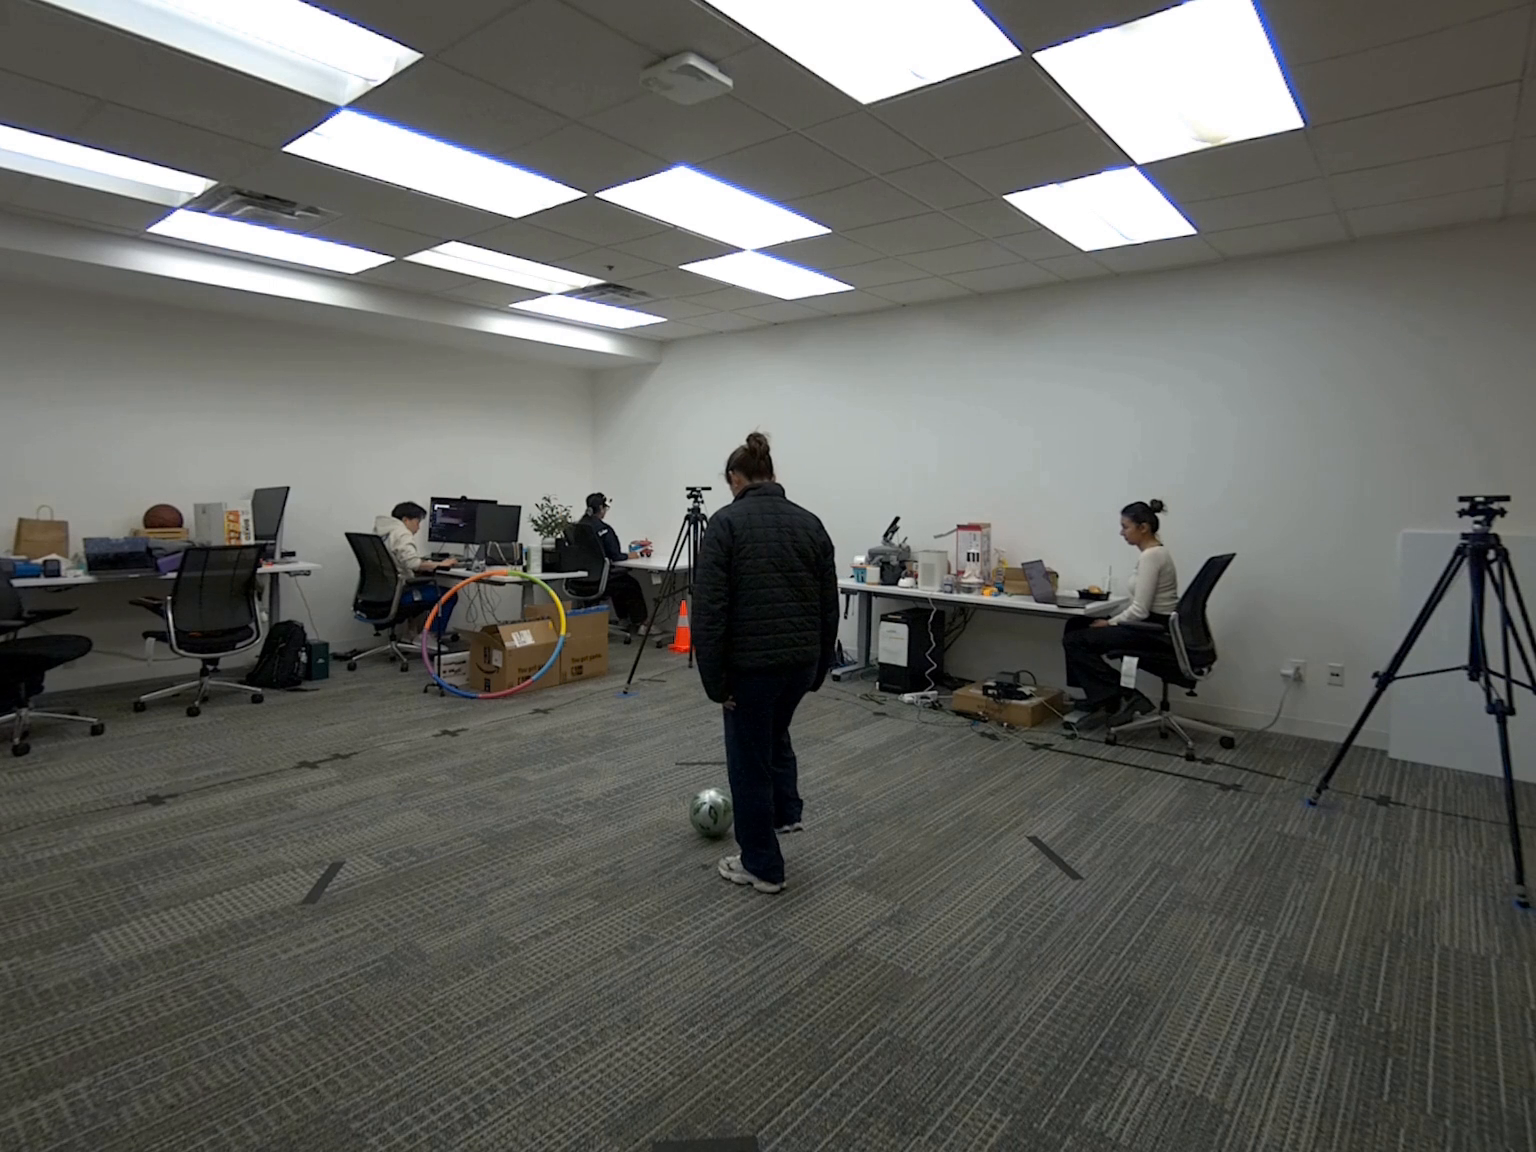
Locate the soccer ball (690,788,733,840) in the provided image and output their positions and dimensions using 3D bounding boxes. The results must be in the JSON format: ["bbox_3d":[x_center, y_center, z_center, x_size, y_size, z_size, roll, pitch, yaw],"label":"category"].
[{"bbox_3d":[-0.232,0.942,3.407,0.187,0.187,0.188,1,4,-2],"label":"soccer ball"}]
